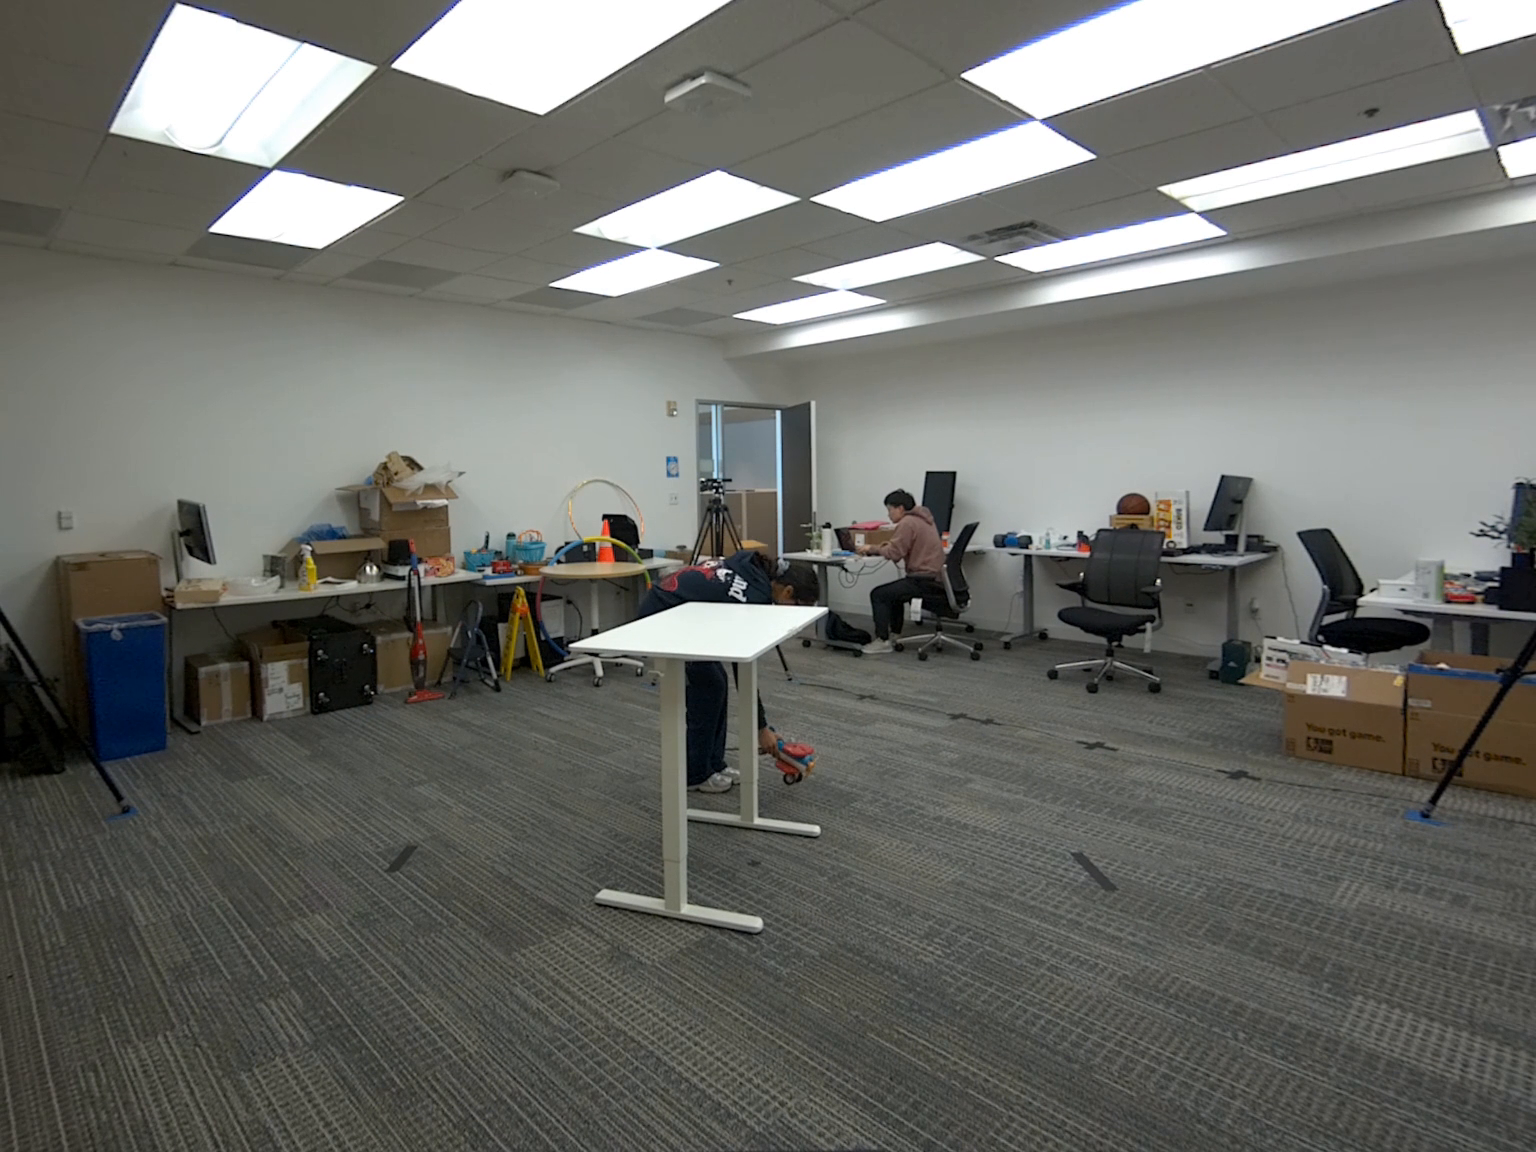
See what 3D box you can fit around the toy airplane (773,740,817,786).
[{"bbox_3d":[0.079,0.778,3.697,0.259,0.156,0.252,36,9,-3],"label":"toy airplane"}]
